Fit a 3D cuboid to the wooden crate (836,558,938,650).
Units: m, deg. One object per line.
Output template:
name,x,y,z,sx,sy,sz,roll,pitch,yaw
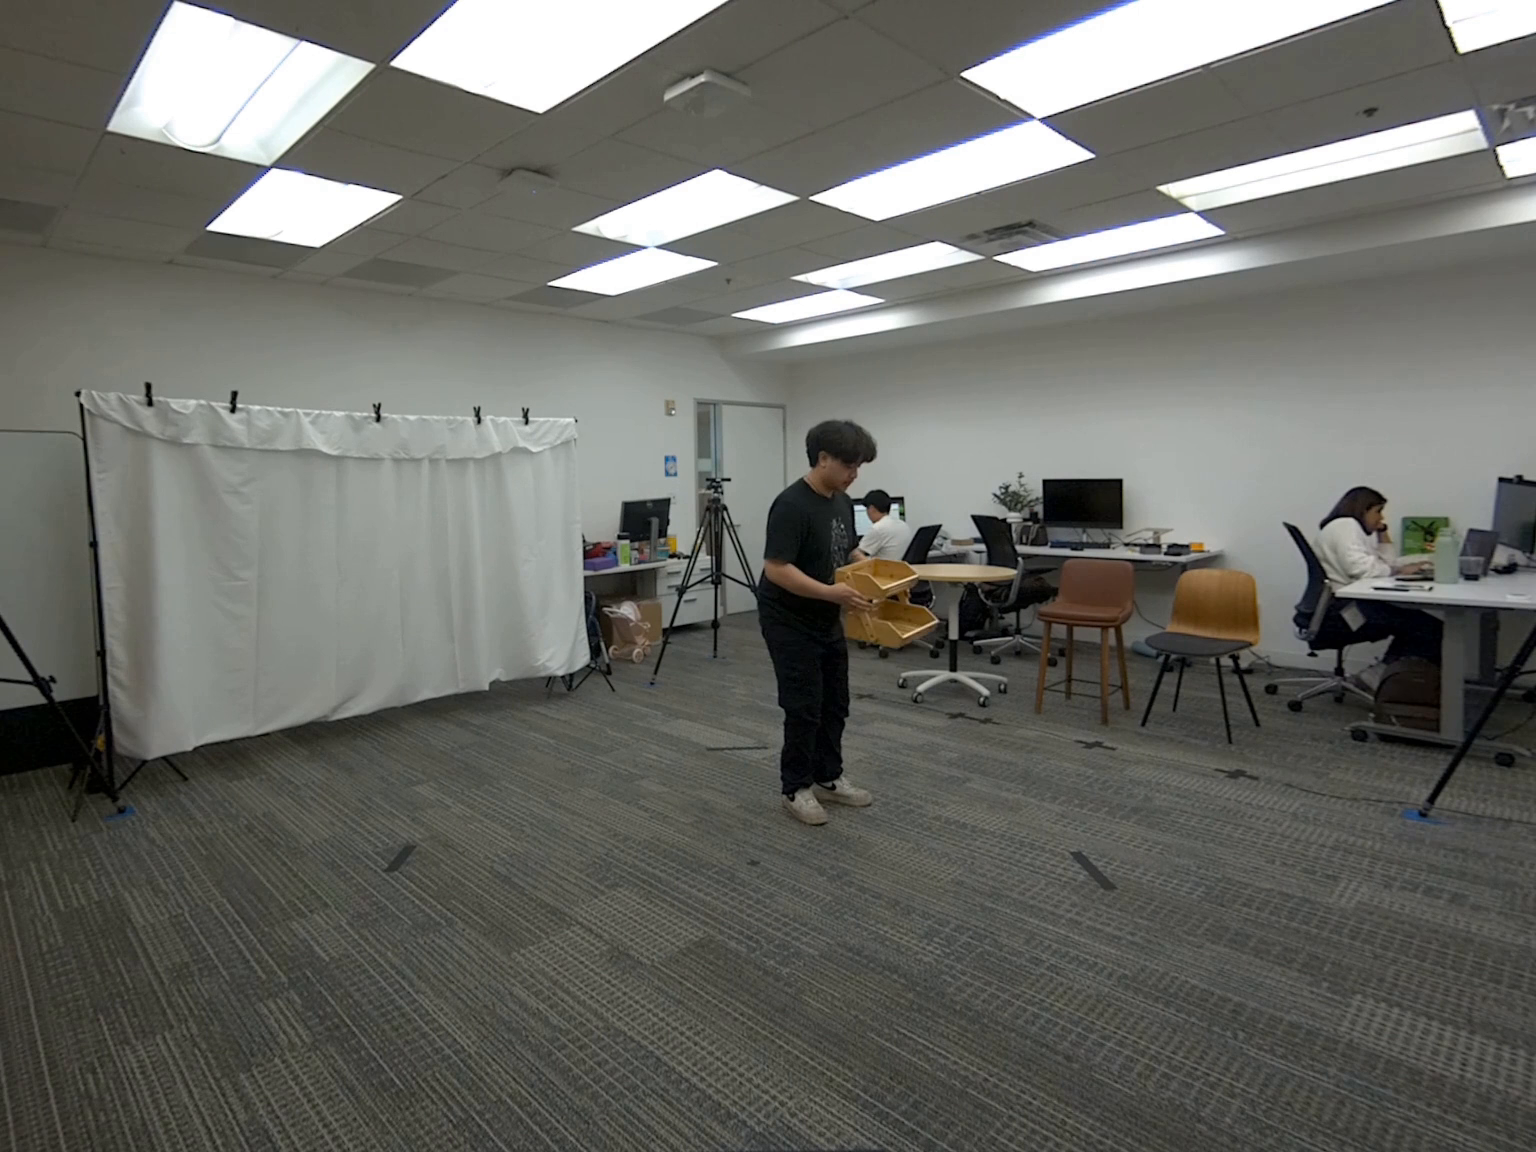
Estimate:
wooden crate,0.466,0.090,3.342,0.312,0.271,0.317,10,13,37
